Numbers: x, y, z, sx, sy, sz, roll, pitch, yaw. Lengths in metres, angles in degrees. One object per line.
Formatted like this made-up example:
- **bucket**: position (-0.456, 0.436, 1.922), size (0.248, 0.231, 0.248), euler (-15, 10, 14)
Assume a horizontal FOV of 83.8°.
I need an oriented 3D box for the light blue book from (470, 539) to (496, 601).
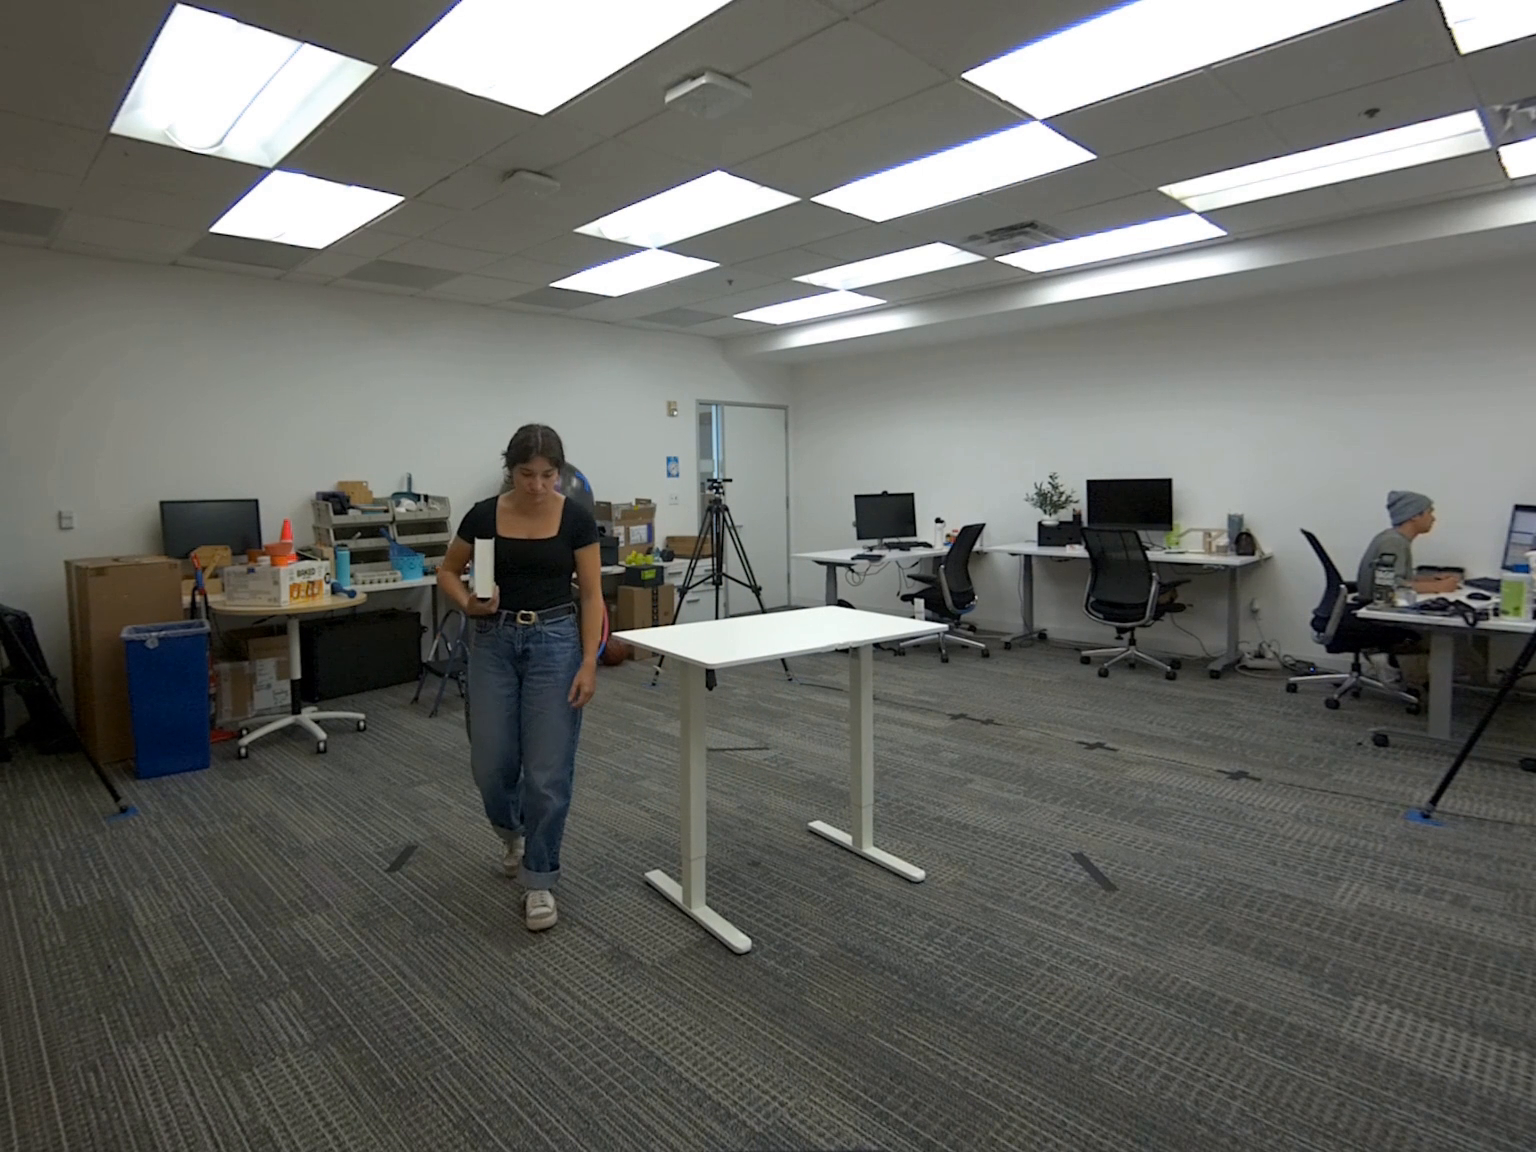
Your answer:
- **light blue book**: position (-0.924, -0.010, 2.755), size (0.058, 0.193, 0.263), euler (3, -7, -18)
